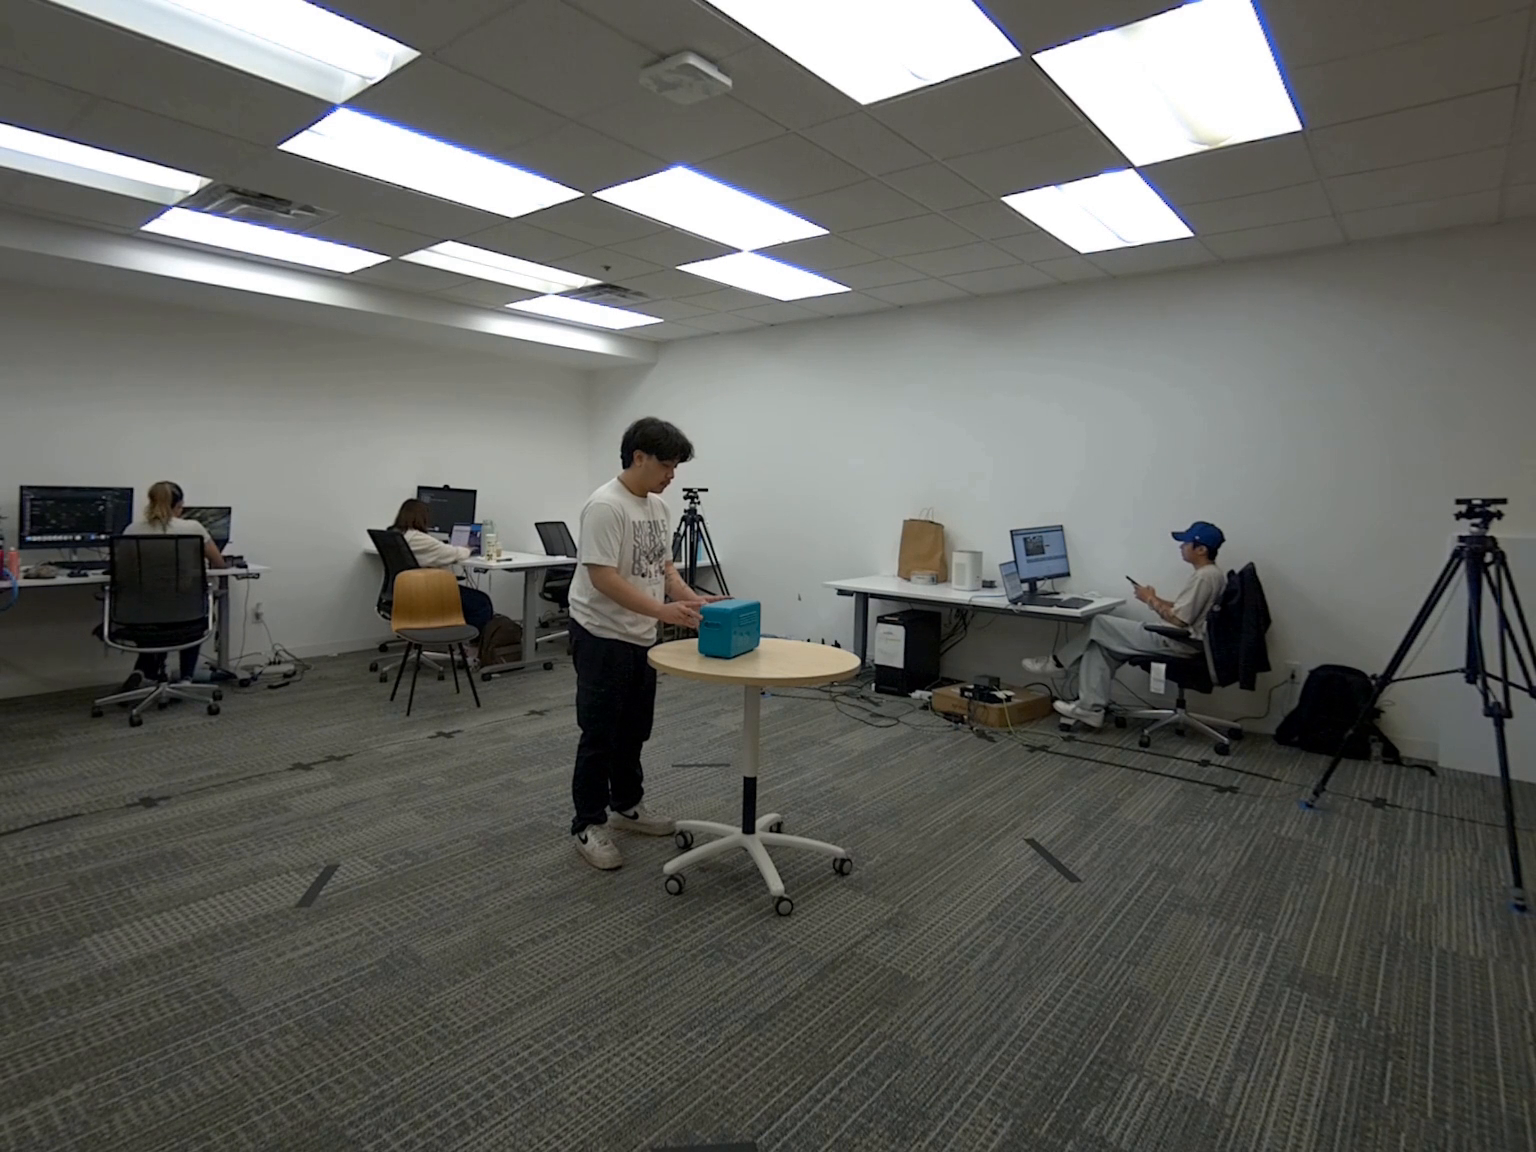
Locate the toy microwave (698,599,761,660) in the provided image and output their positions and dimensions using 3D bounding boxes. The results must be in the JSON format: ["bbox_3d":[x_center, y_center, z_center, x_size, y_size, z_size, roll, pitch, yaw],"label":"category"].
[{"bbox_3d":[-0.154,0.185,3.109,0.156,0.183,0.280,3,5,23],"label":"toy microwave"}]
